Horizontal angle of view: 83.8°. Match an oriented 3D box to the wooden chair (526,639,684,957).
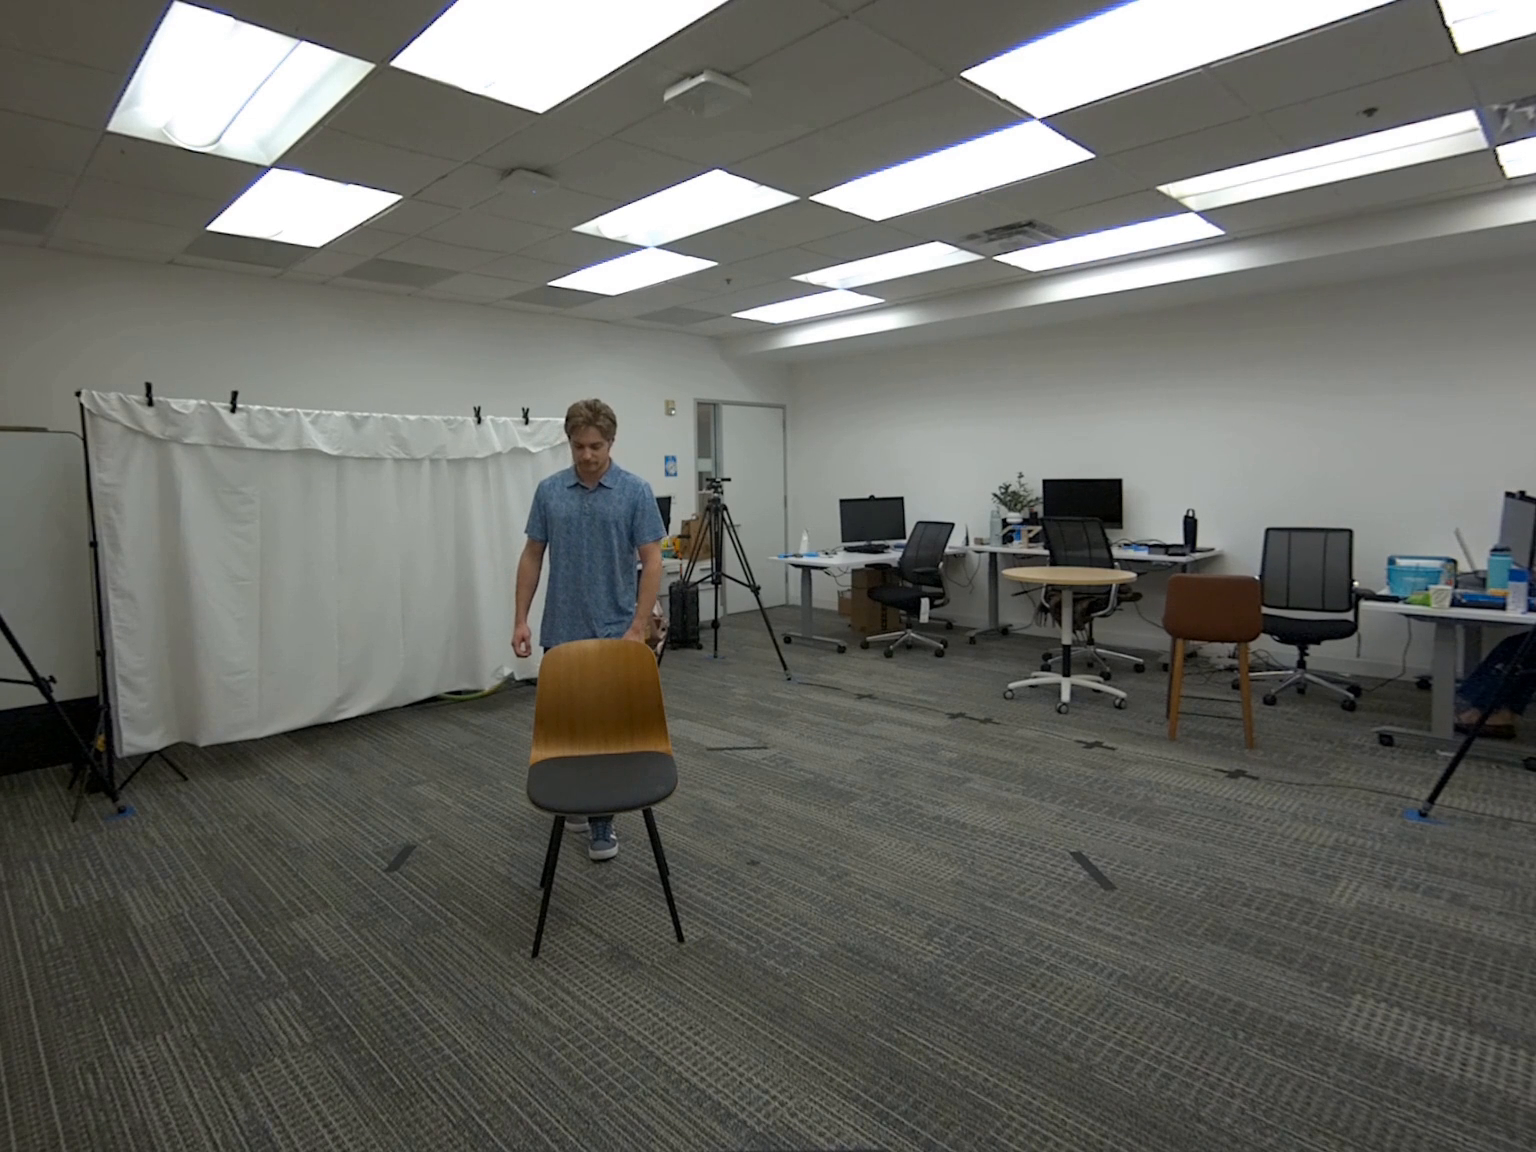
[{"bbox_3d":[-0.516,0.666,2.721,0.473,0.877,0.529,-2,0,-11],"label":"wooden chair"}]
